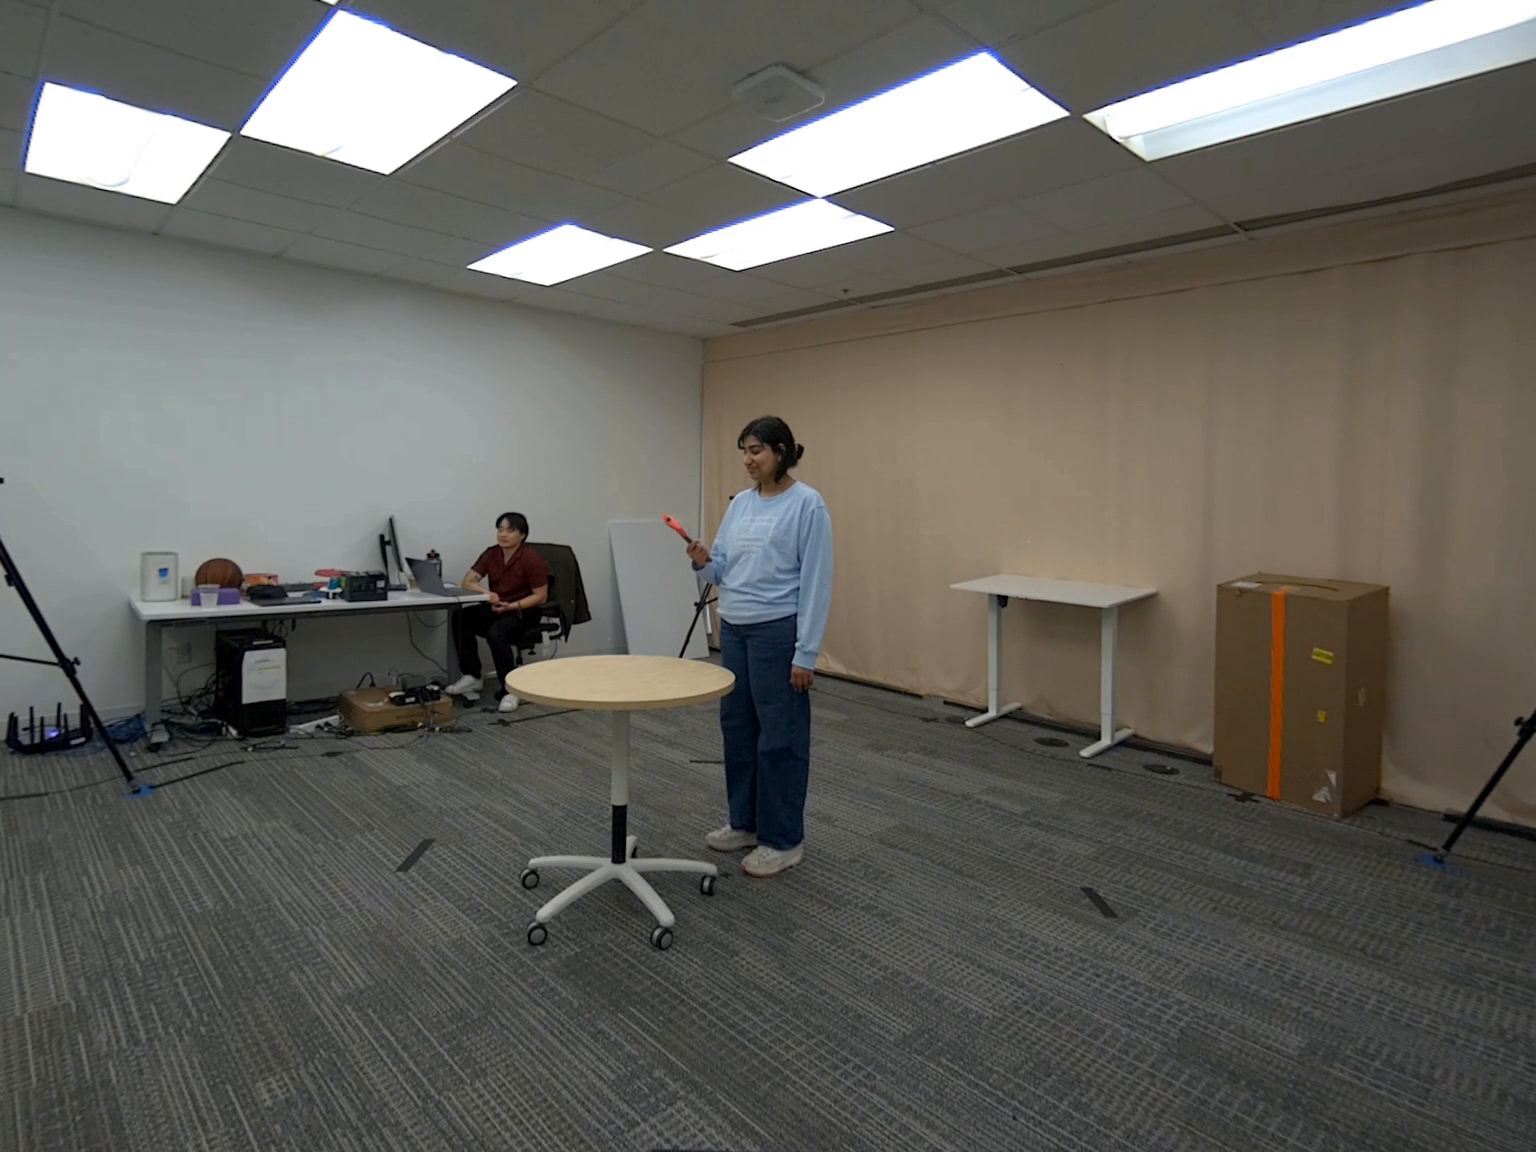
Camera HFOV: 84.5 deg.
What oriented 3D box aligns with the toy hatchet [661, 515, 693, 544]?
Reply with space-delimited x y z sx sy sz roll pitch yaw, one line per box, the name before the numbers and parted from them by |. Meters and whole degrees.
toy hatchet | -0.292 -0.131 3.072 0.263 0.029 0.134 44 -9 -25
